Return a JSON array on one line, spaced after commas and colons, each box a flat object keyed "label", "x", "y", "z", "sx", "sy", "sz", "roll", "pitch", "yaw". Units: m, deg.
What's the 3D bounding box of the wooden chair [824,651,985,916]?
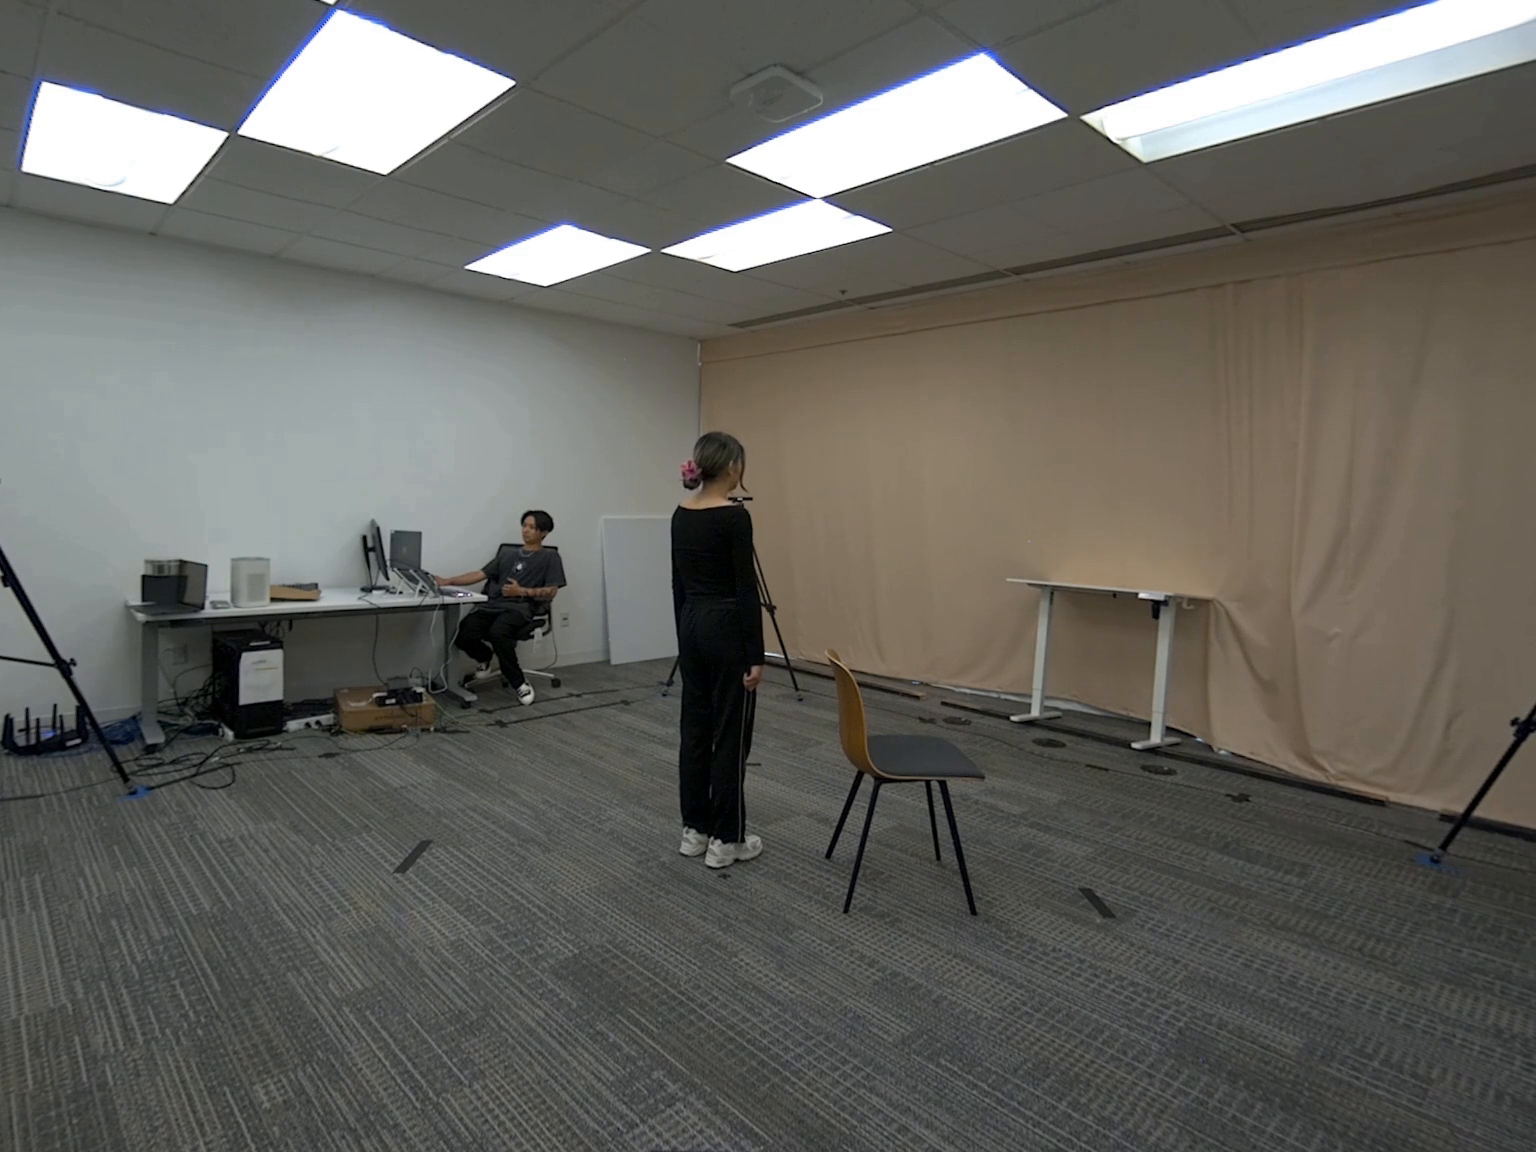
[{"label": "wooden chair", "x": 0.479, "y": 0.703, "z": 3.037, "sx": 0.522, "sy": 0.875, "sz": 0.480, "roll": -2, "pitch": 3, "yaw": -3}]
